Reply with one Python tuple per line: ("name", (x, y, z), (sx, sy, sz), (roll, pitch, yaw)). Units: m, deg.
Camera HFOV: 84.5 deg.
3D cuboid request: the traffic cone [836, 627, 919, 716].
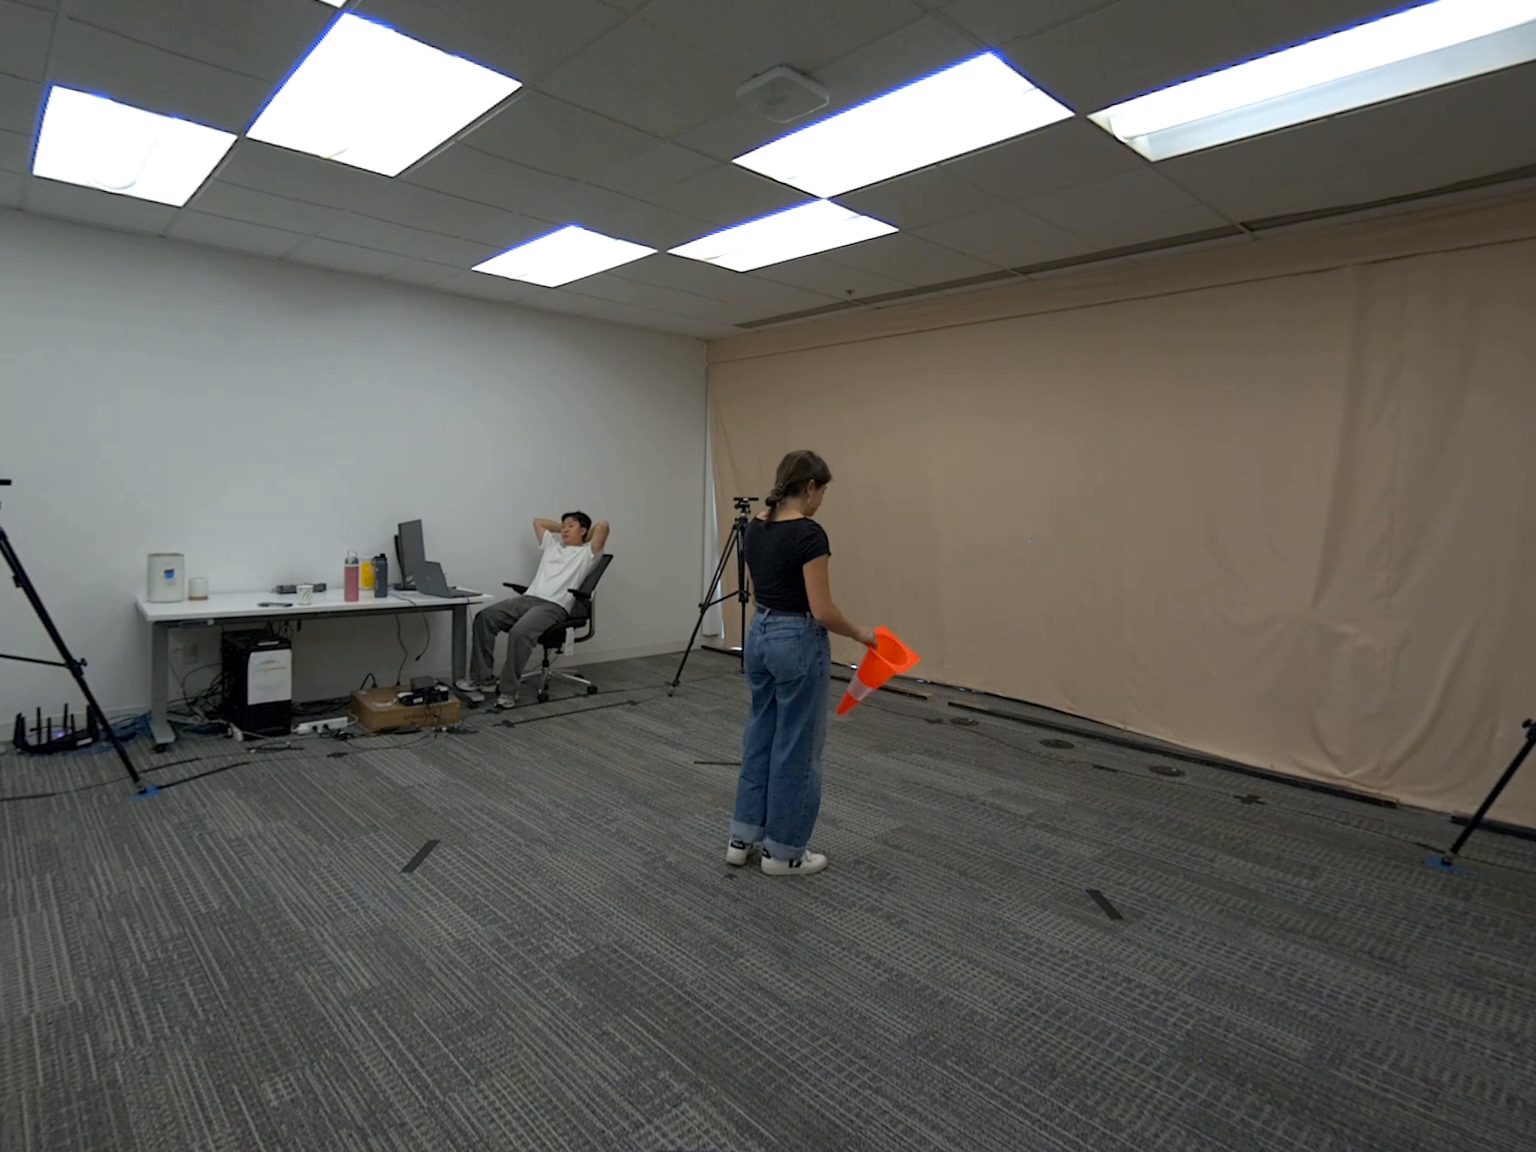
("traffic cone", (0.356, 0.418, 3.256), (0.210, 0.381, 0.200), (45, 33, 22))
